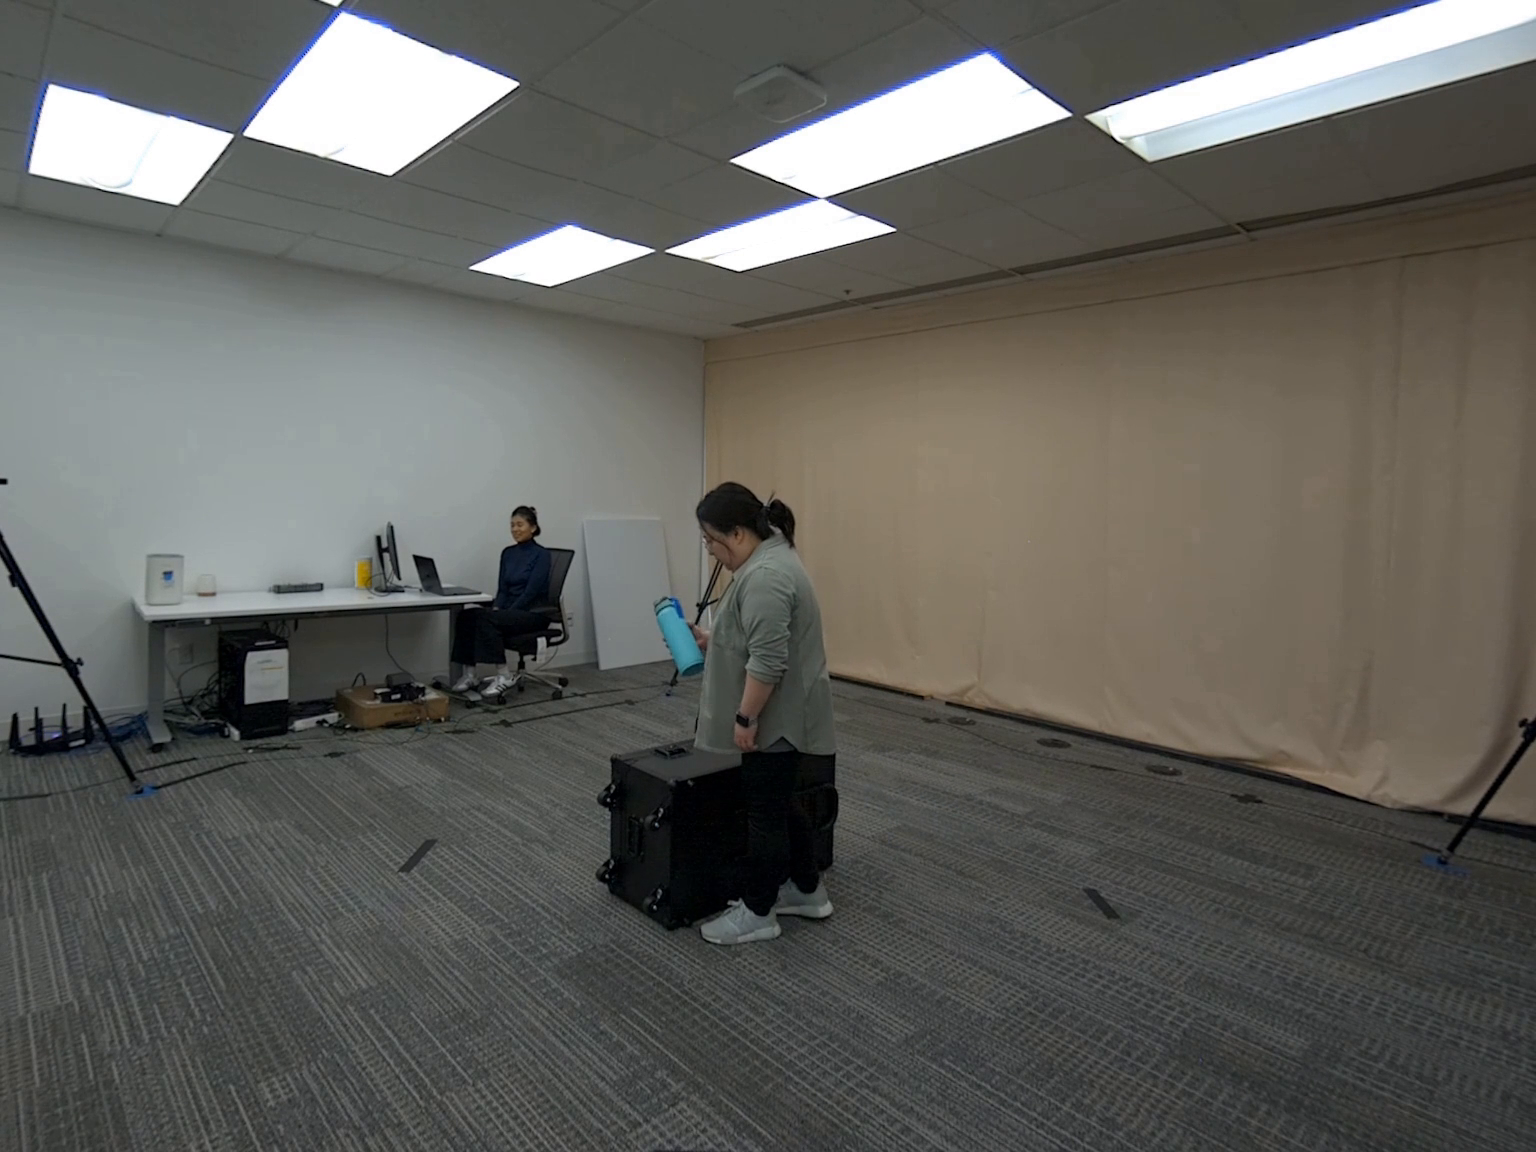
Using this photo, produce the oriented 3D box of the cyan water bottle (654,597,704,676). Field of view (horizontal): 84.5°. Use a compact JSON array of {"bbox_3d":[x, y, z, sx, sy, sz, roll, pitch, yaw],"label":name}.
[{"bbox_3d":[-0.294,0.193,2.804,0.092,0.291,0.090,-21,-29,-13],"label":"cyan water bottle"}]
